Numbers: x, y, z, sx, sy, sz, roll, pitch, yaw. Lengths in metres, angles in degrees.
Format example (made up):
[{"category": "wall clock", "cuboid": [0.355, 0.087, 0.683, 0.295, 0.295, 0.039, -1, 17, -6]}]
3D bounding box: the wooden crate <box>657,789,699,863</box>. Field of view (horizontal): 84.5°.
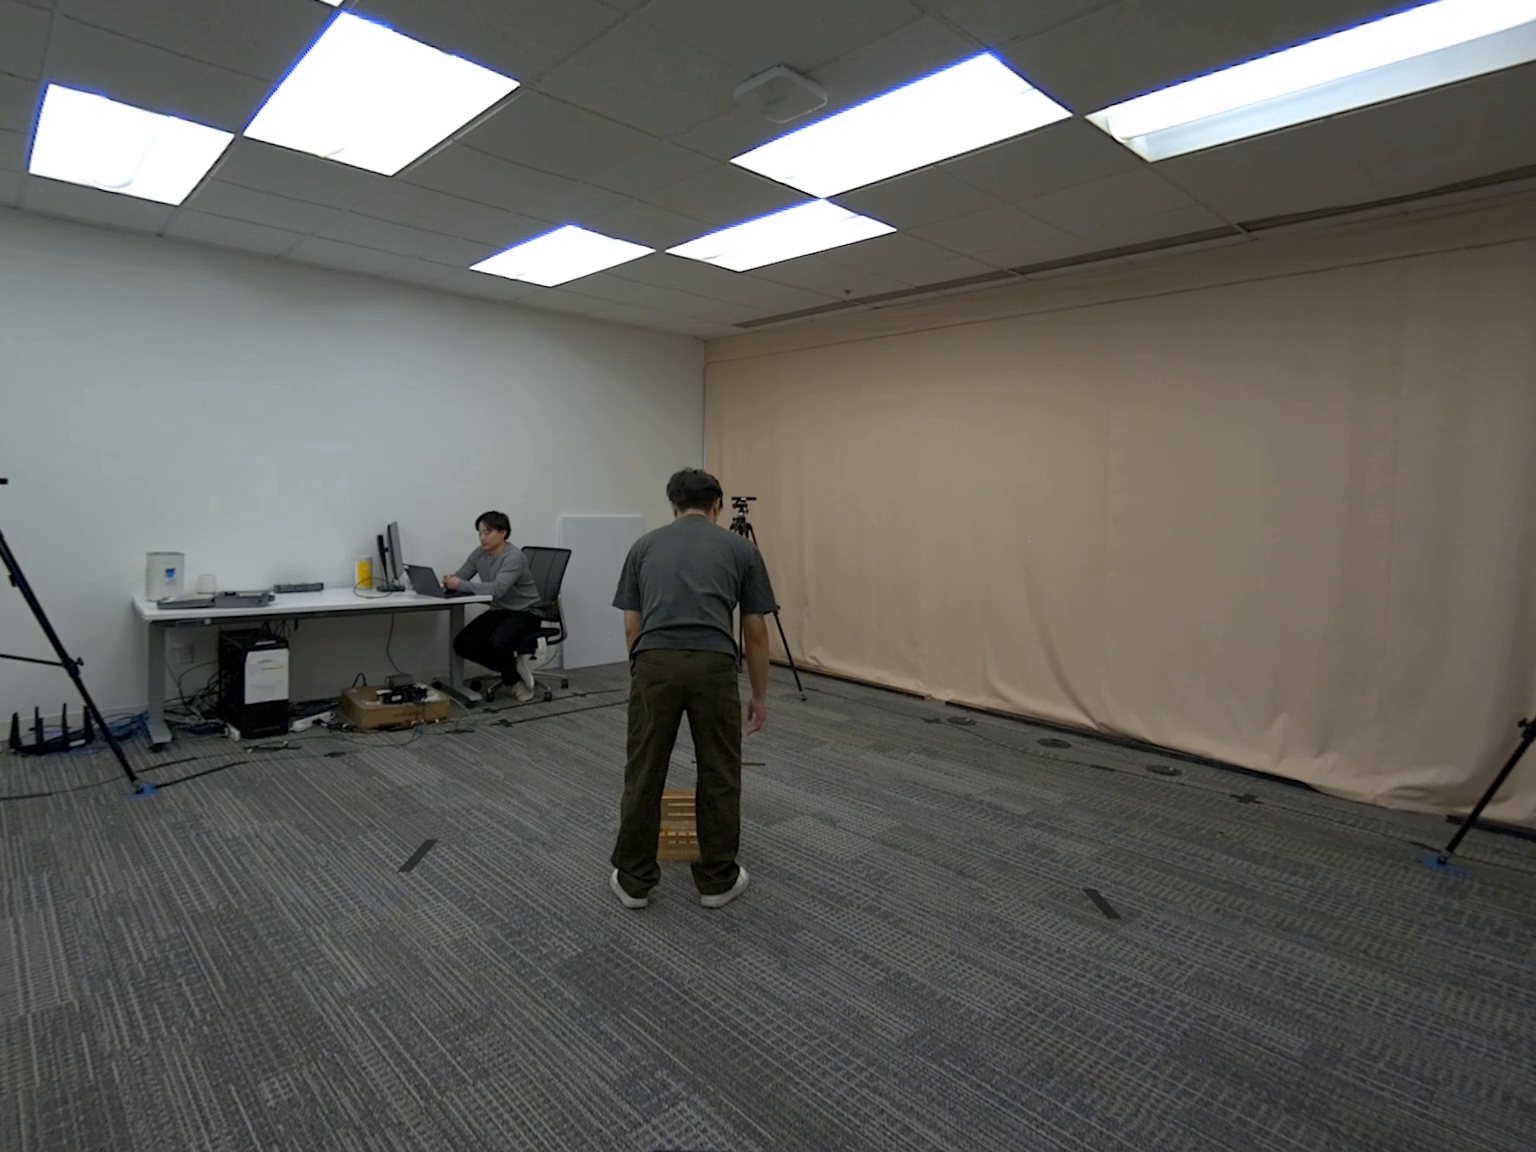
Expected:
[{"category": "wooden crate", "cuboid": [-0.297, 0.953, 3.339, 0.323, 0.273, 0.304, 1, 4, -5]}]
